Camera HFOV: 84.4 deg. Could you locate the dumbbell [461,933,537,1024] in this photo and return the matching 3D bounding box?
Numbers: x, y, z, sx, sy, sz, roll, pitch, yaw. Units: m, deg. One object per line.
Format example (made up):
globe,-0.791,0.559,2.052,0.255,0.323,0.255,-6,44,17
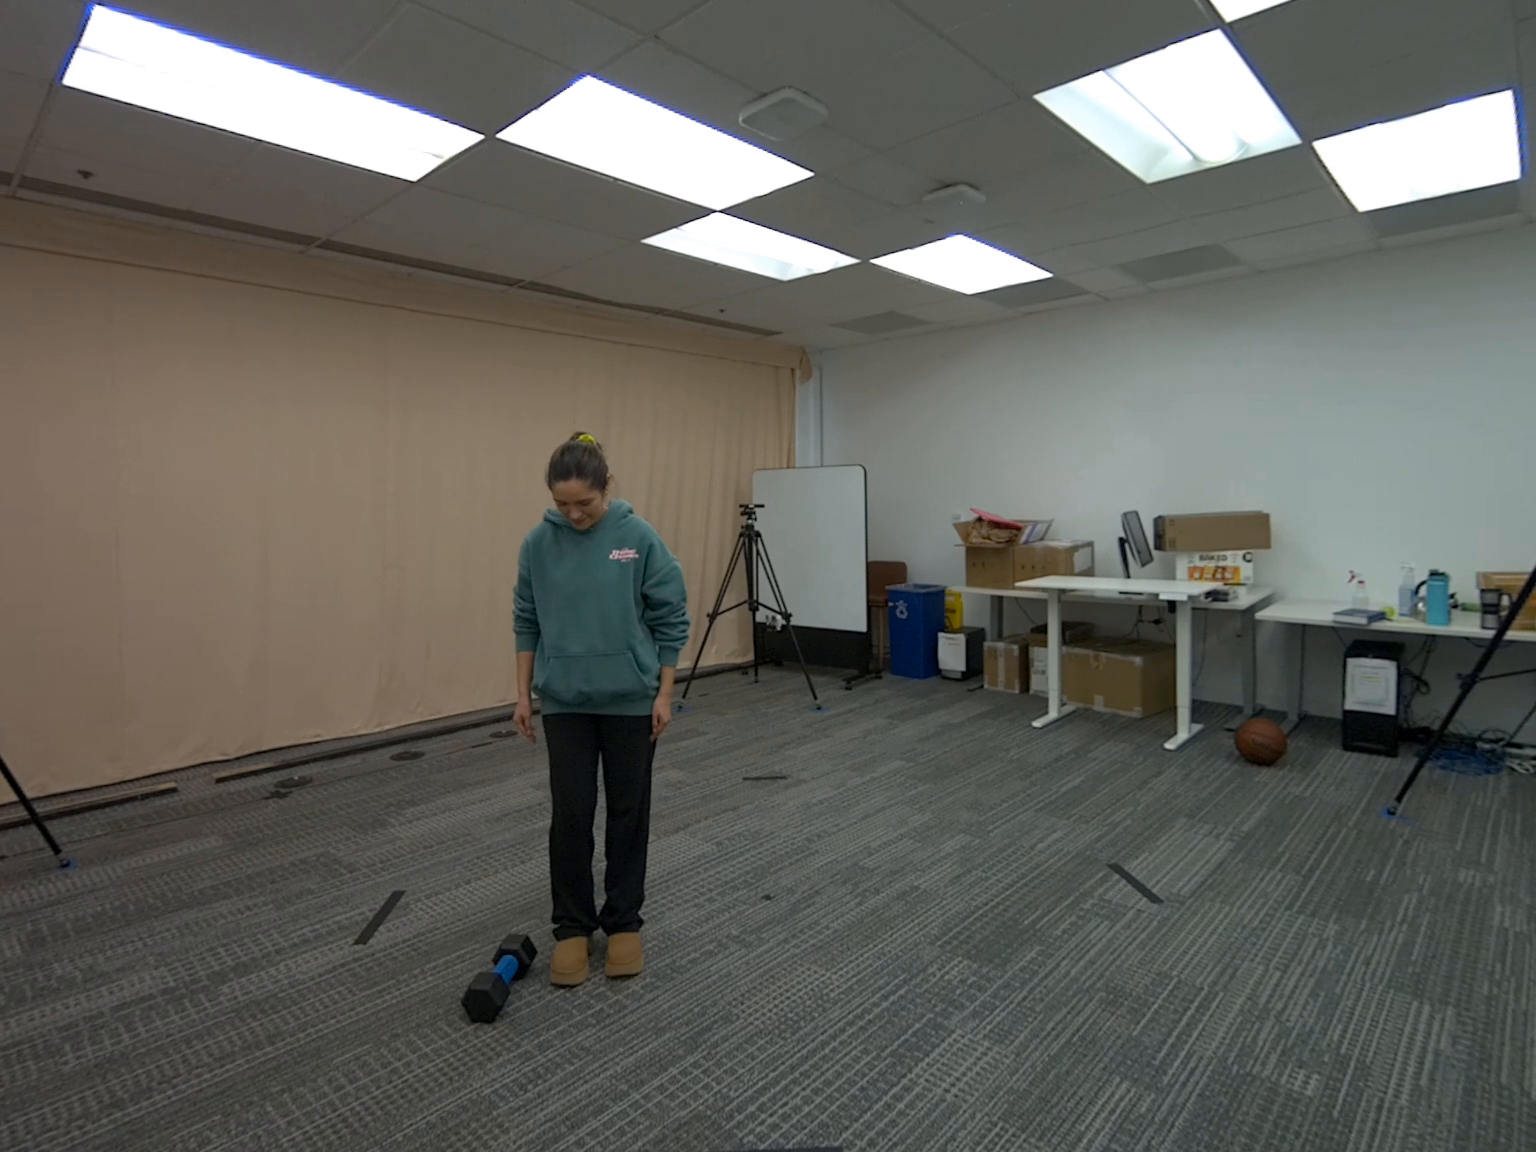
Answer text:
dumbbell,-0.769,1.153,2.416,0.109,0.123,0.292,-30,2,6
